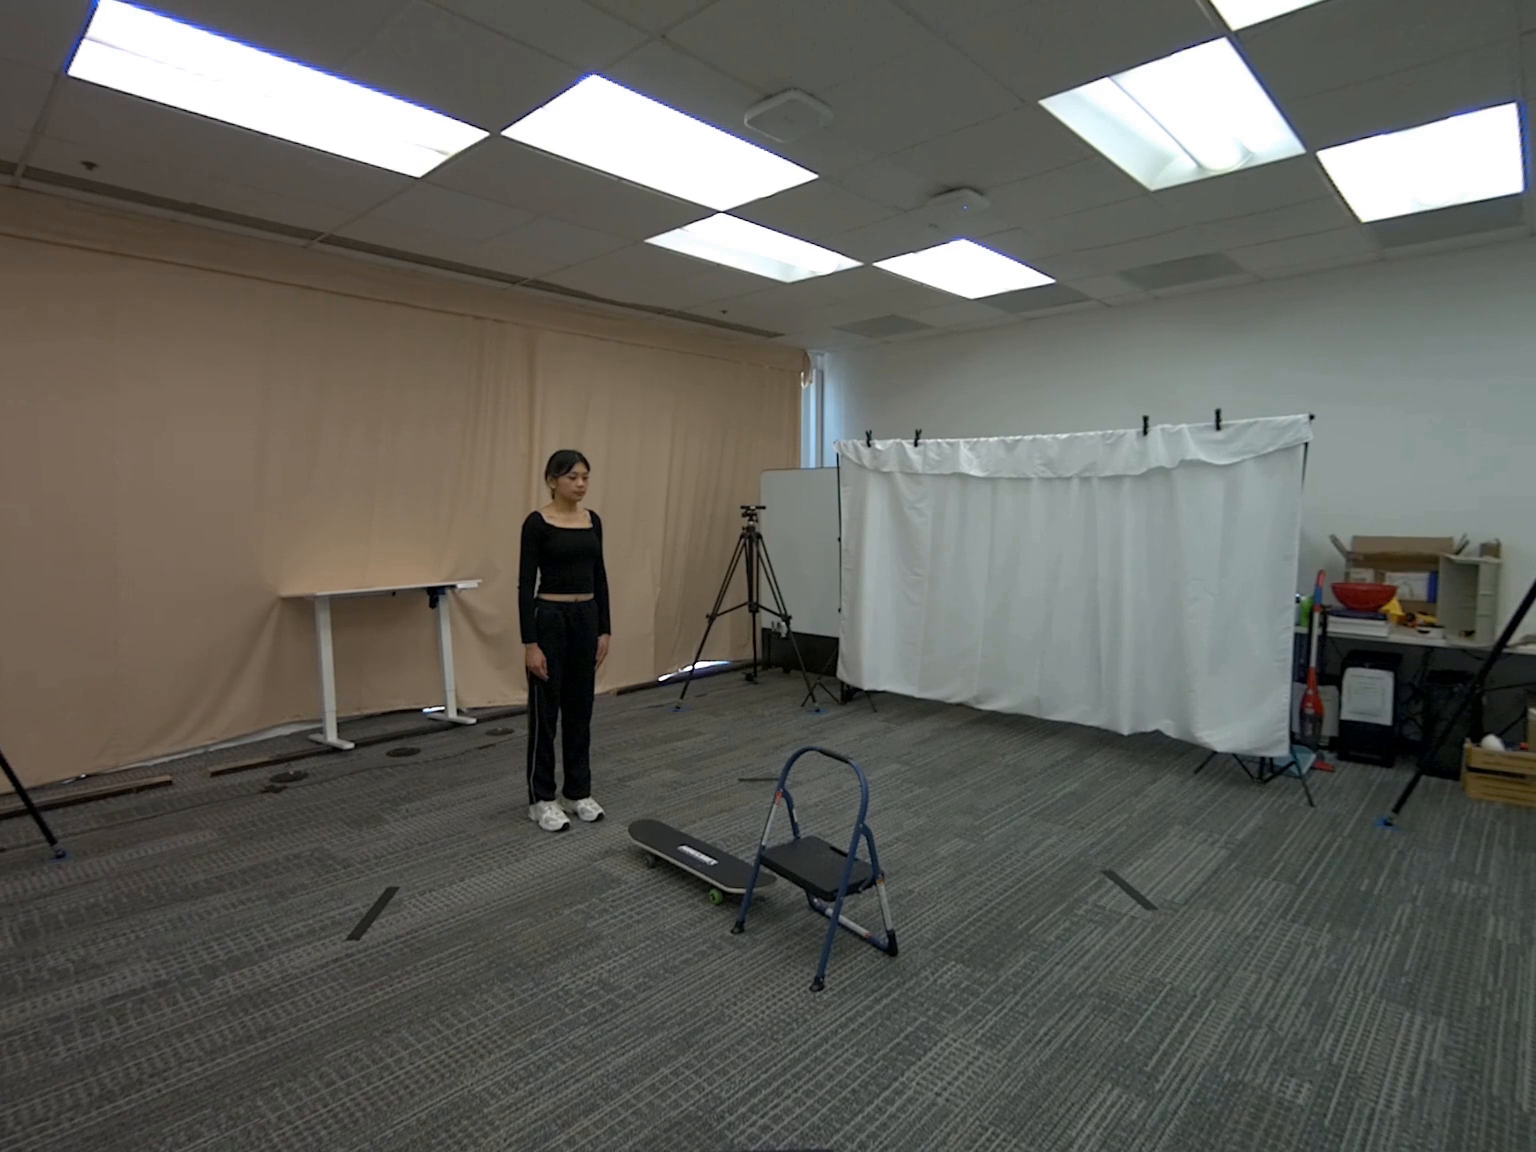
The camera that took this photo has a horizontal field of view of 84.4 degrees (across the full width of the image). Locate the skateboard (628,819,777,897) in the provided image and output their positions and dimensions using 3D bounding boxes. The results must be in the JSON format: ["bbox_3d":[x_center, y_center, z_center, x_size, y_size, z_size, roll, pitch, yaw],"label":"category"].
[{"bbox_3d":[-0.265,1.077,3.148,0.187,0.110,0.812,-3,5,-42],"label":"skateboard"}]
